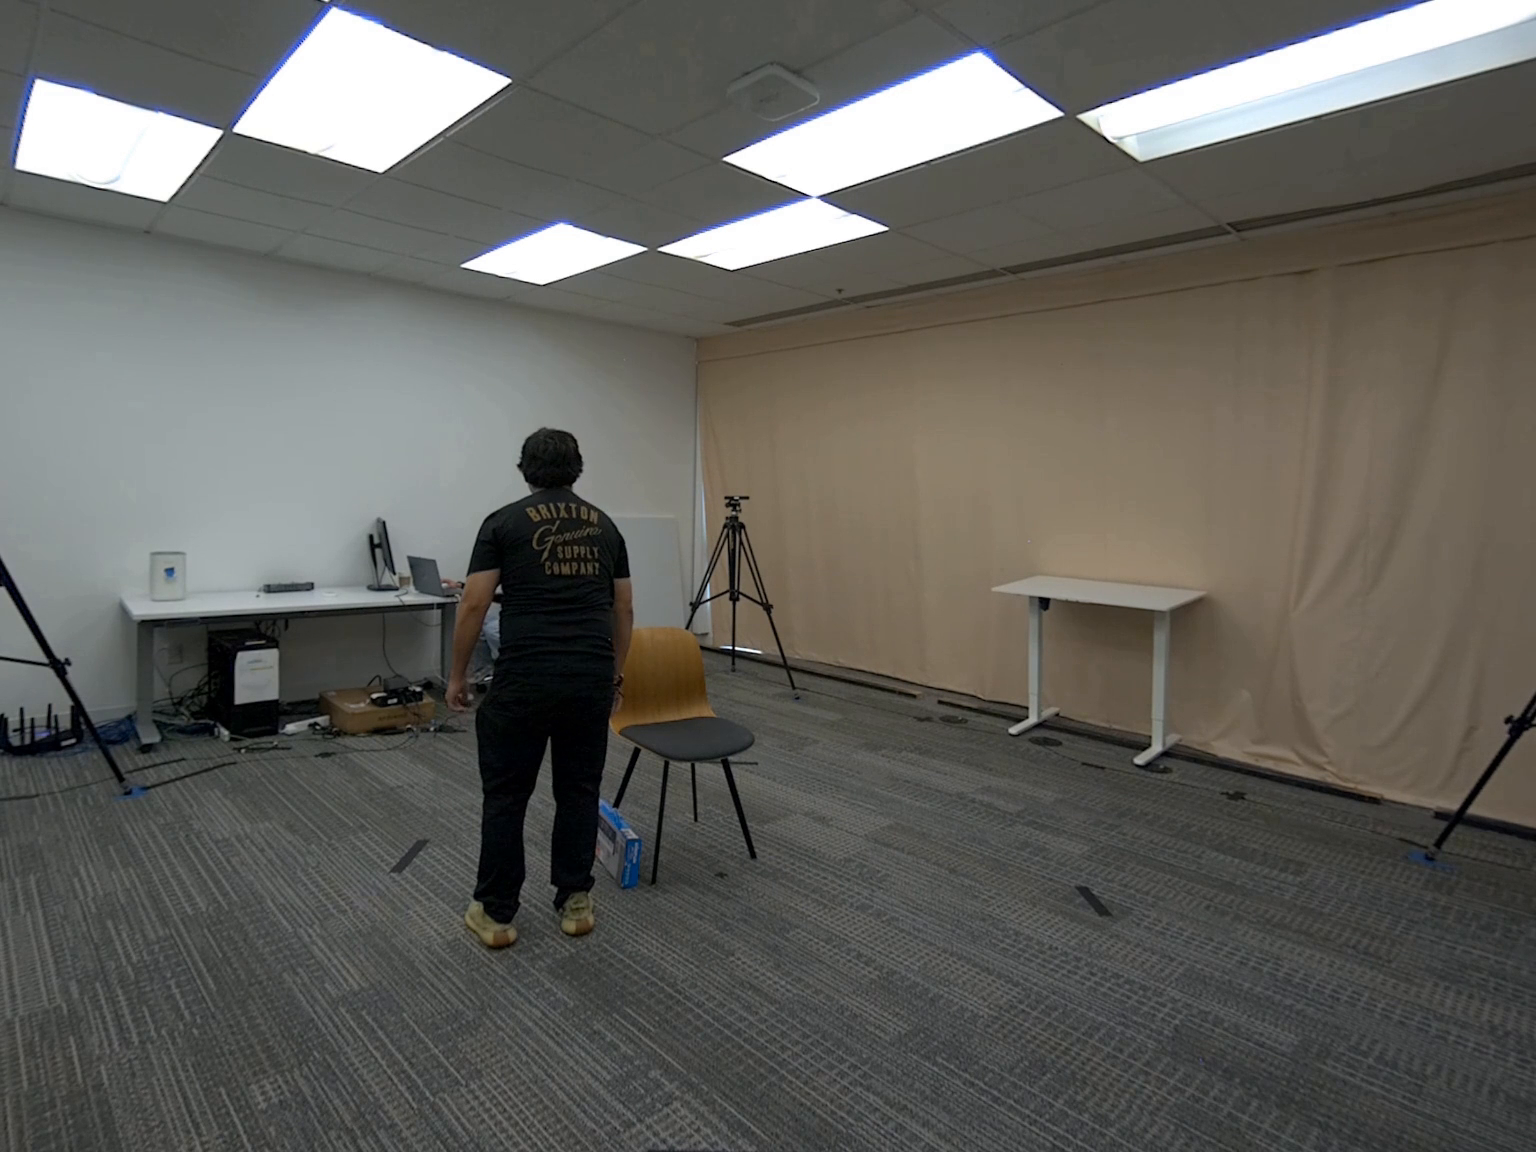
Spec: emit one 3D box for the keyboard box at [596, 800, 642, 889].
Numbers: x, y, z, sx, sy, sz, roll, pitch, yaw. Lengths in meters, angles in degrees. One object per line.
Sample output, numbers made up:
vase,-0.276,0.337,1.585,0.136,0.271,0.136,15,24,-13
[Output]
keyboard box,-0.600,1.006,3.176,0.058,0.176,0.447,6,2,-29
